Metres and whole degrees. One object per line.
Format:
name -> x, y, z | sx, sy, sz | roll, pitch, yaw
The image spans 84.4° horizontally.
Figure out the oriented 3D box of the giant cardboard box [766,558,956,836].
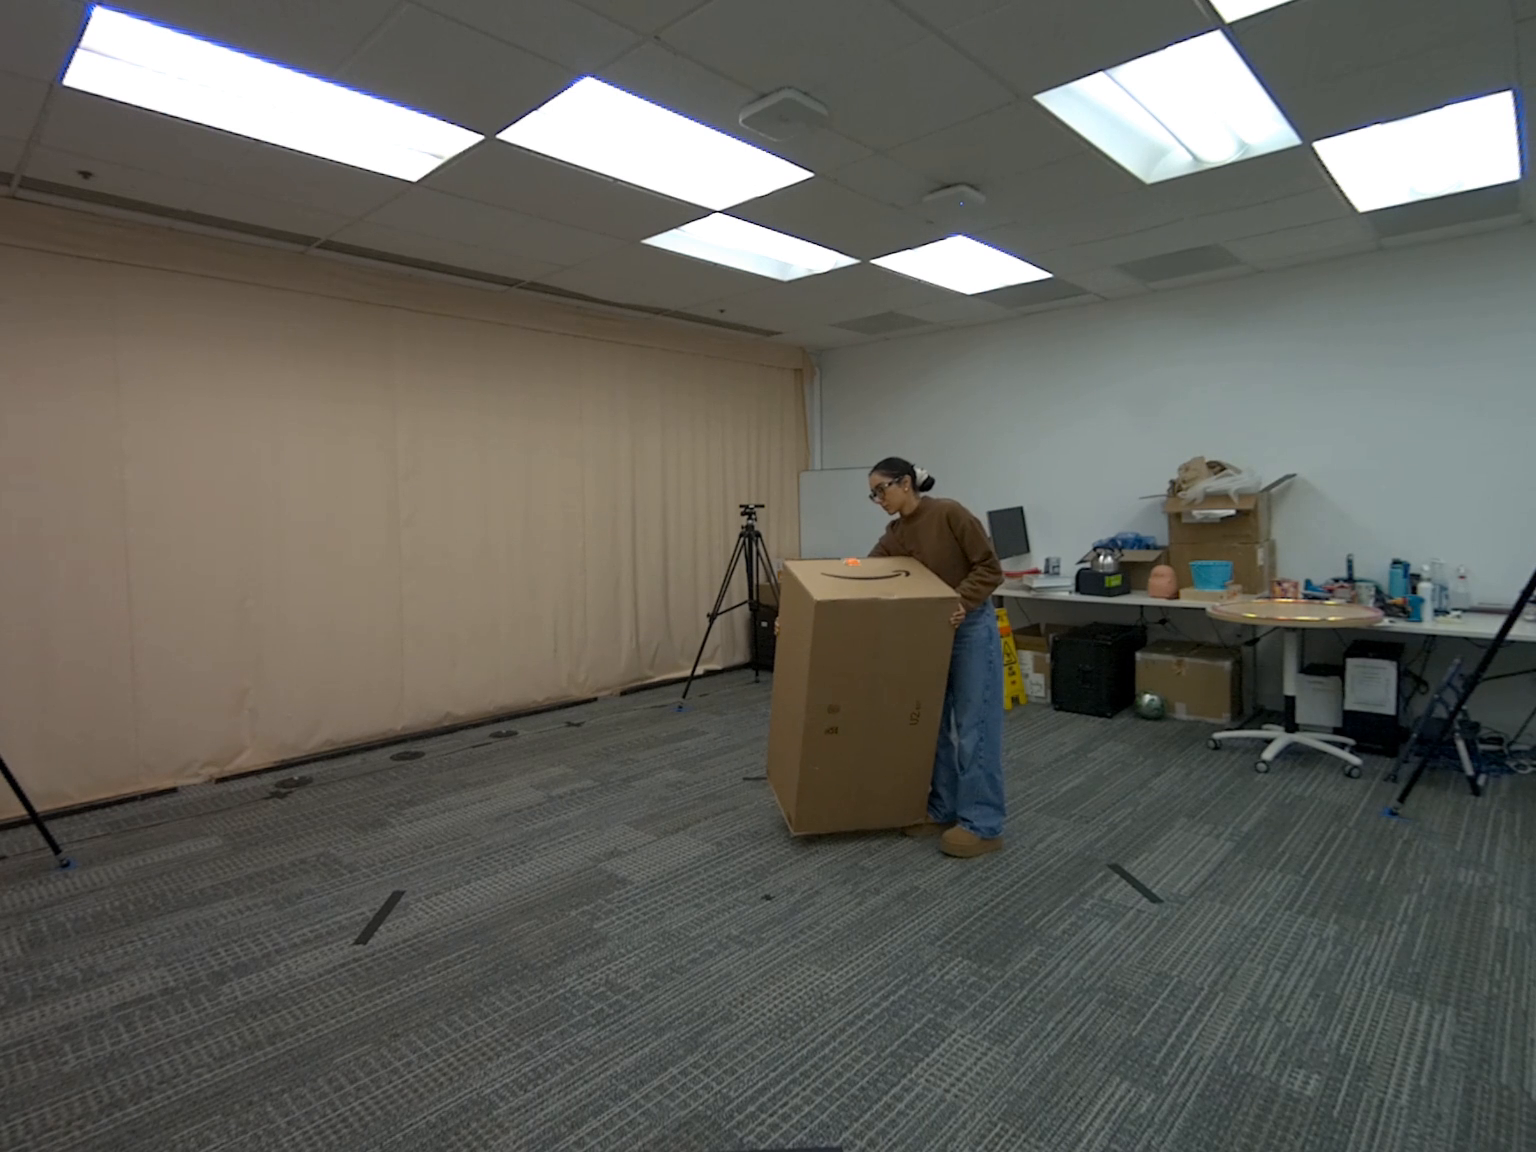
giant cardboard box -> 0.354, 0.480, 3.444 | 0.569, 1.015, 0.437 | 0, 21, -14
